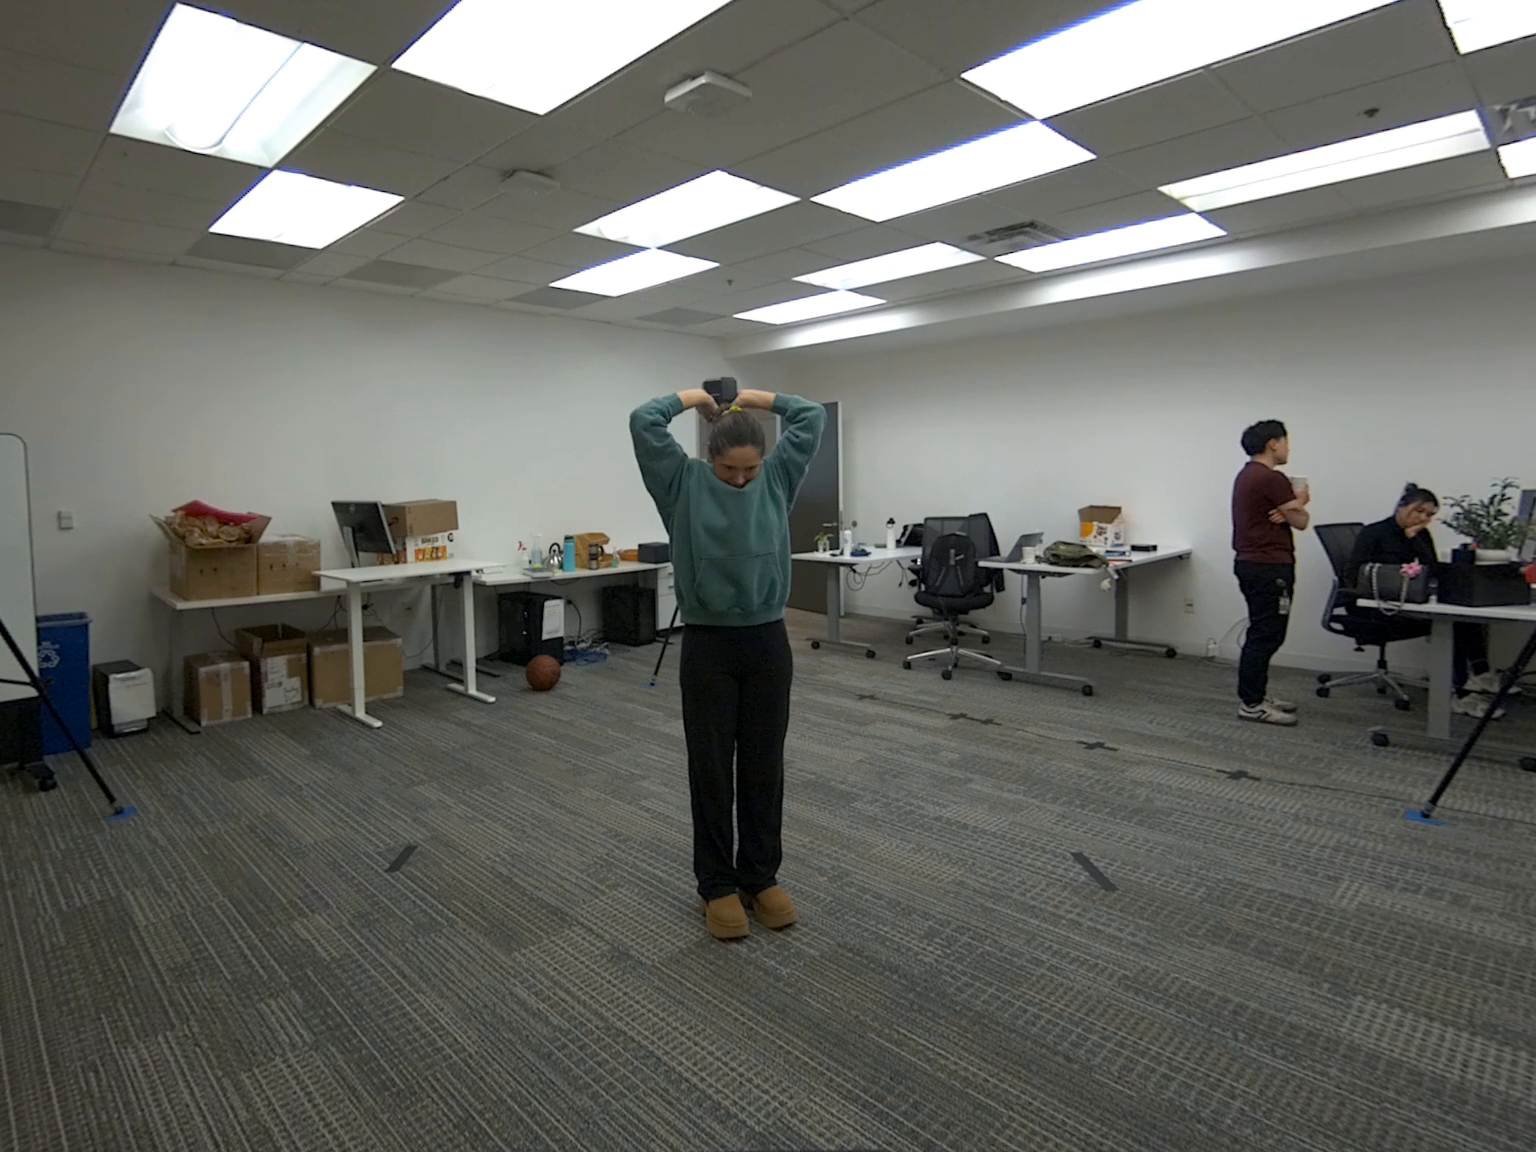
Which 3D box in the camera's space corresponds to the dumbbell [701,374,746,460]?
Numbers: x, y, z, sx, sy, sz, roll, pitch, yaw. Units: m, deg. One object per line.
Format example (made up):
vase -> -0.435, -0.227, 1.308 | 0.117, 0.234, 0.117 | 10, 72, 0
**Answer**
dumbbell -> -0.142, -0.494, 2.755 | 0.107, 0.292, 0.125 | -3, 6, -17
